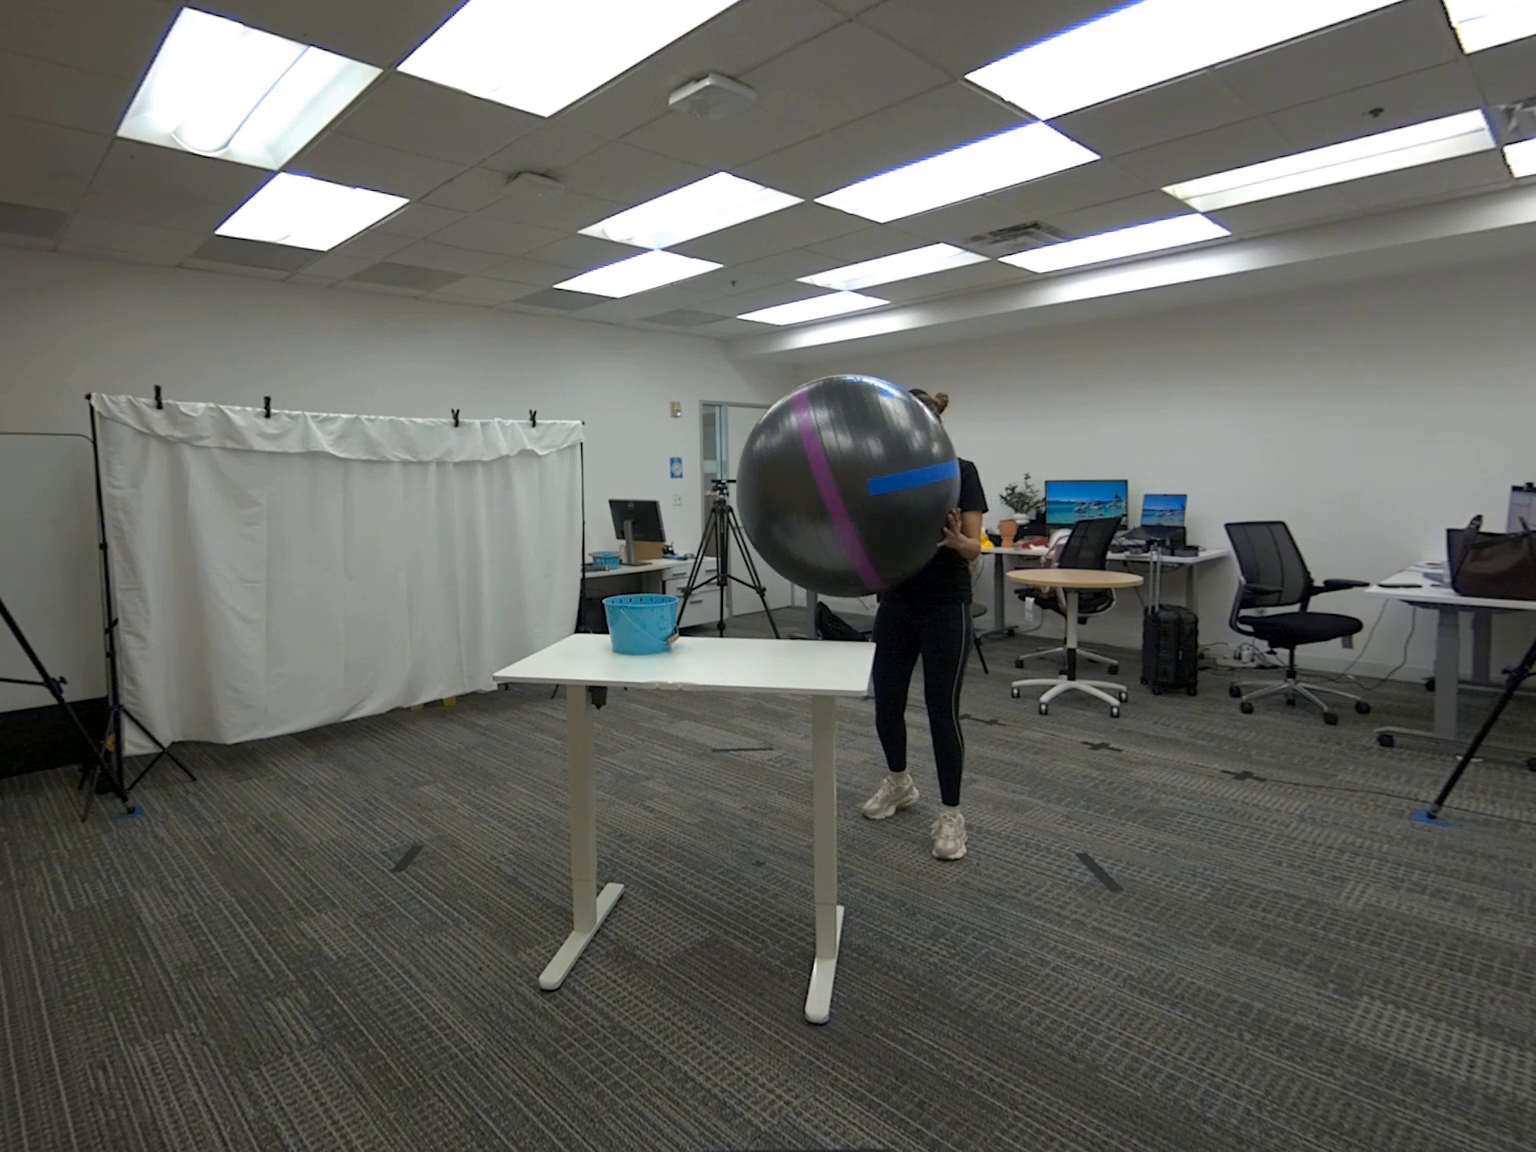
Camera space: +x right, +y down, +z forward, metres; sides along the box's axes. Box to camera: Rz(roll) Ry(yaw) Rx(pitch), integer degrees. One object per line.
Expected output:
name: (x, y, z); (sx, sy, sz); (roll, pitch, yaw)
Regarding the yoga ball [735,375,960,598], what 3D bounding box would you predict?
yoga ball: (0.272, -0.305, 2.939); (0.757, 0.755, 0.762); (-1, 5, -2)
